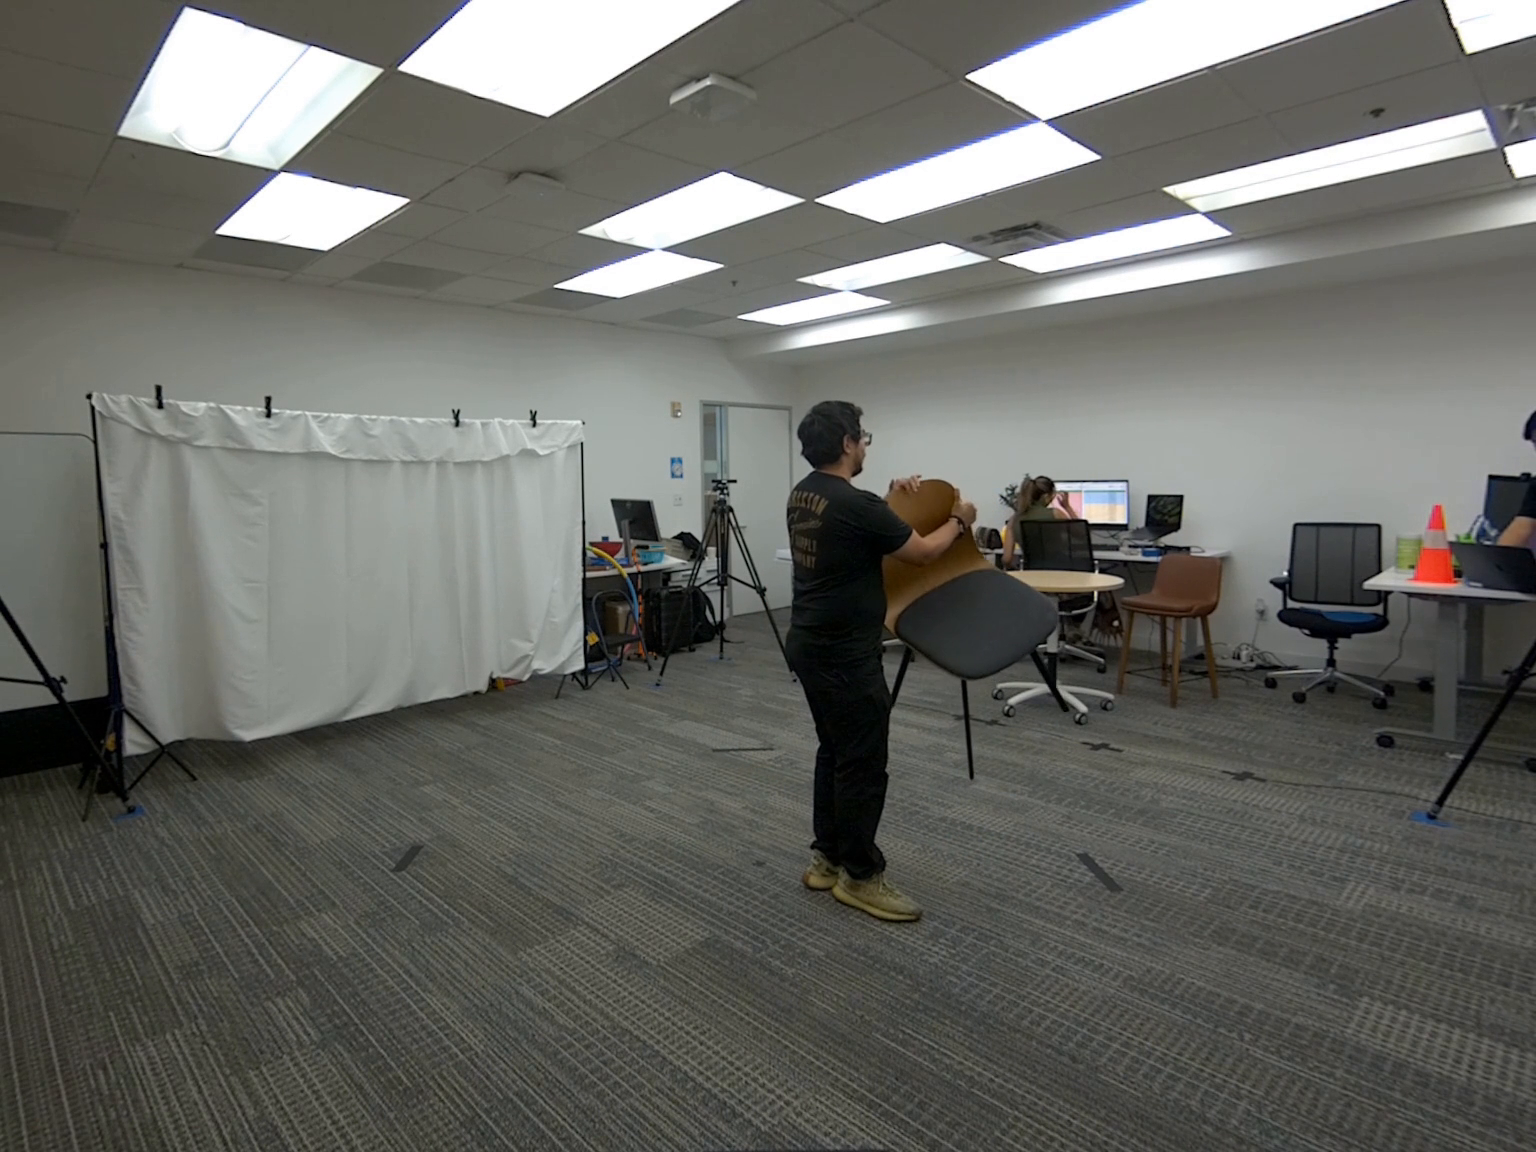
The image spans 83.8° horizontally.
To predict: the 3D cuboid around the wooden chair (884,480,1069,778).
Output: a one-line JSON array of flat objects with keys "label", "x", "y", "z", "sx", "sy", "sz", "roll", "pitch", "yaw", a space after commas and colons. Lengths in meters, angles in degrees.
[{"label": "wooden chair", "x": 0.671, "y": 0.160, "z": 2.898, "sx": 0.474, "sy": 0.852, "sz": 0.542, "roll": -28, "pitch": 31, "yaw": -18}]
